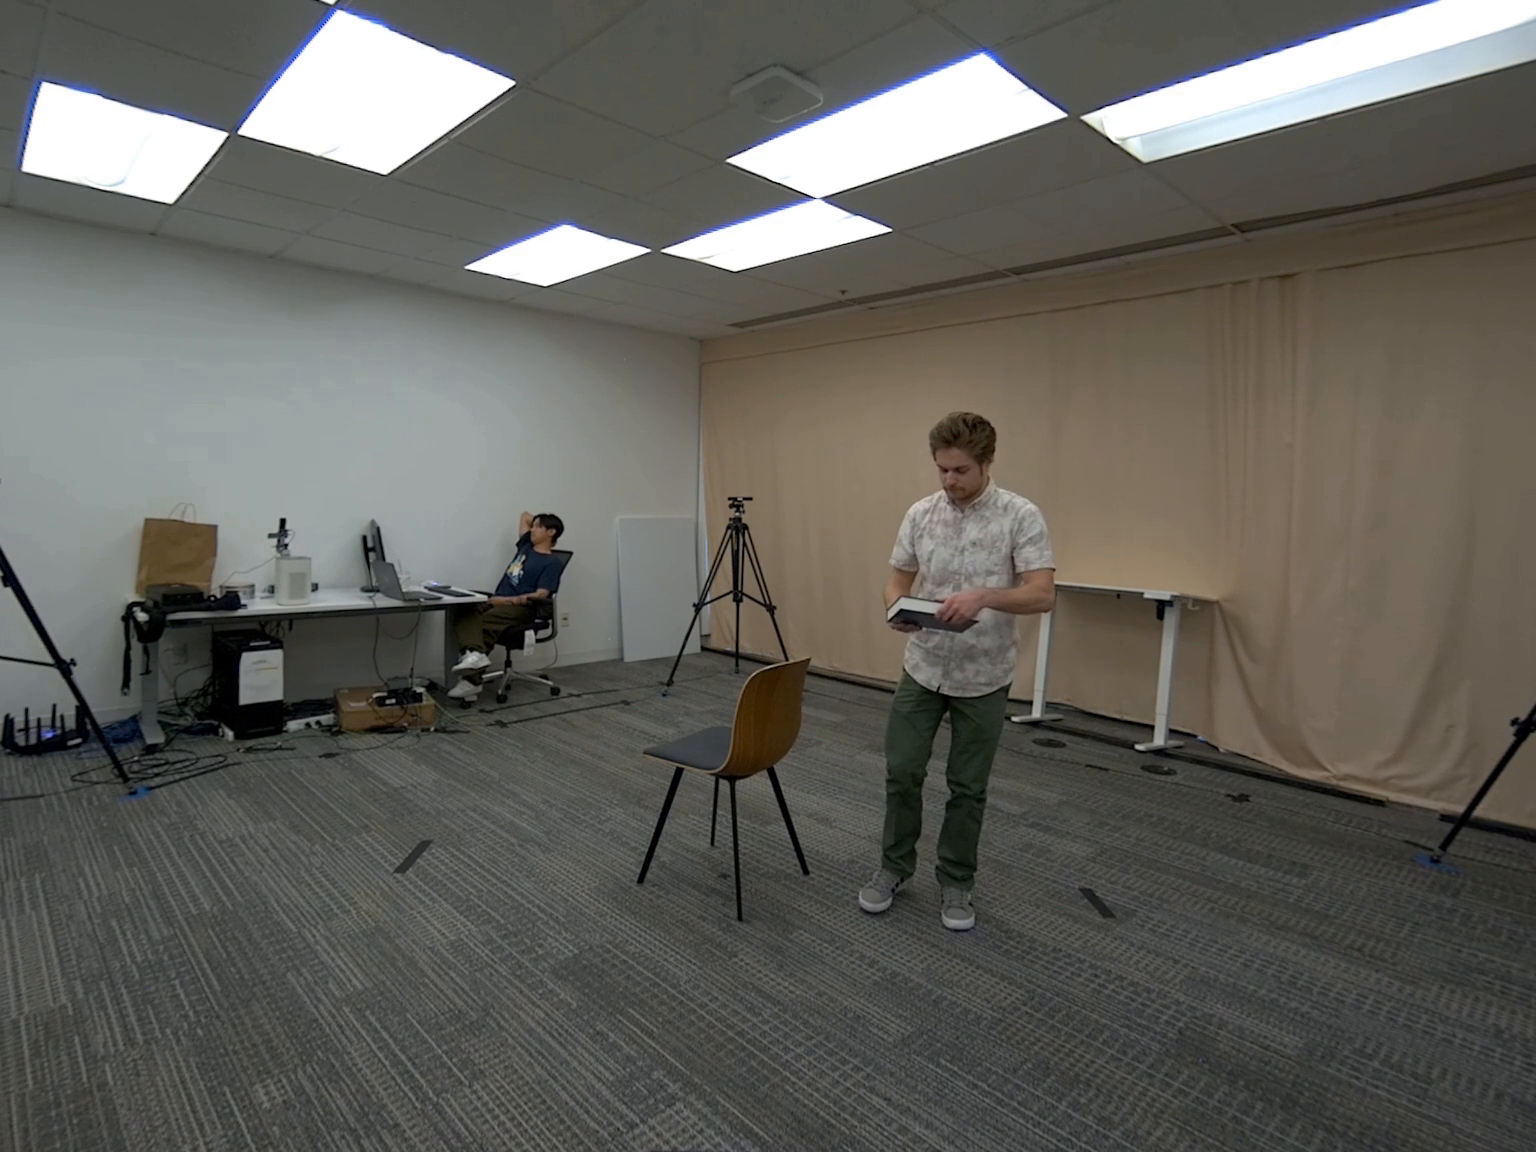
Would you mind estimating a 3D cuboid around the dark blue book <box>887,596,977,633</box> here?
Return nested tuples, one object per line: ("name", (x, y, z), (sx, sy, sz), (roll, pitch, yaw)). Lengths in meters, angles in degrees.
("dark blue book", (0.504, 0.124, 2.609), (0.244, 0.046, 0.162), (8, -18, -6))
